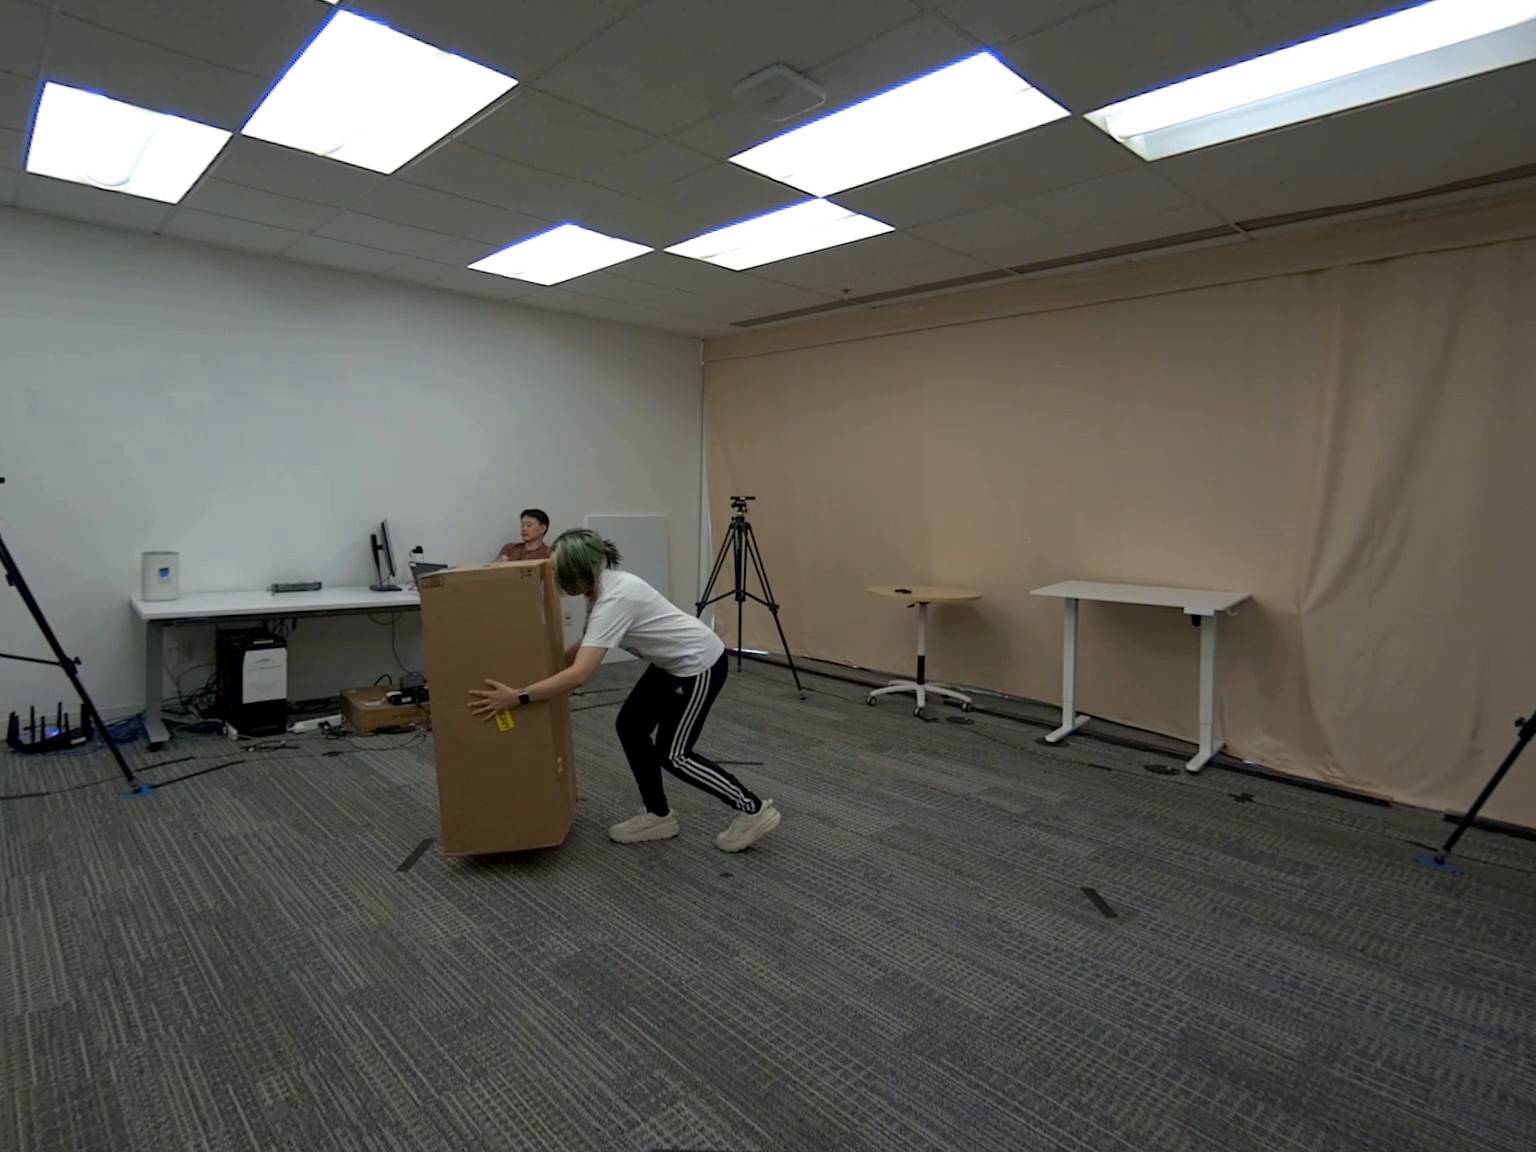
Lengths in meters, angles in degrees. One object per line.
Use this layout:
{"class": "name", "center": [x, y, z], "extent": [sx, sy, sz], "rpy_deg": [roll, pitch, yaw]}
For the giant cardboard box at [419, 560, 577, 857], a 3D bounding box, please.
{"class": "giant cardboard box", "center": [-1.035, 0.472, 3.309], "extent": [0.445, 1.026, 0.587], "rpy_deg": [-5, 2, -6]}
